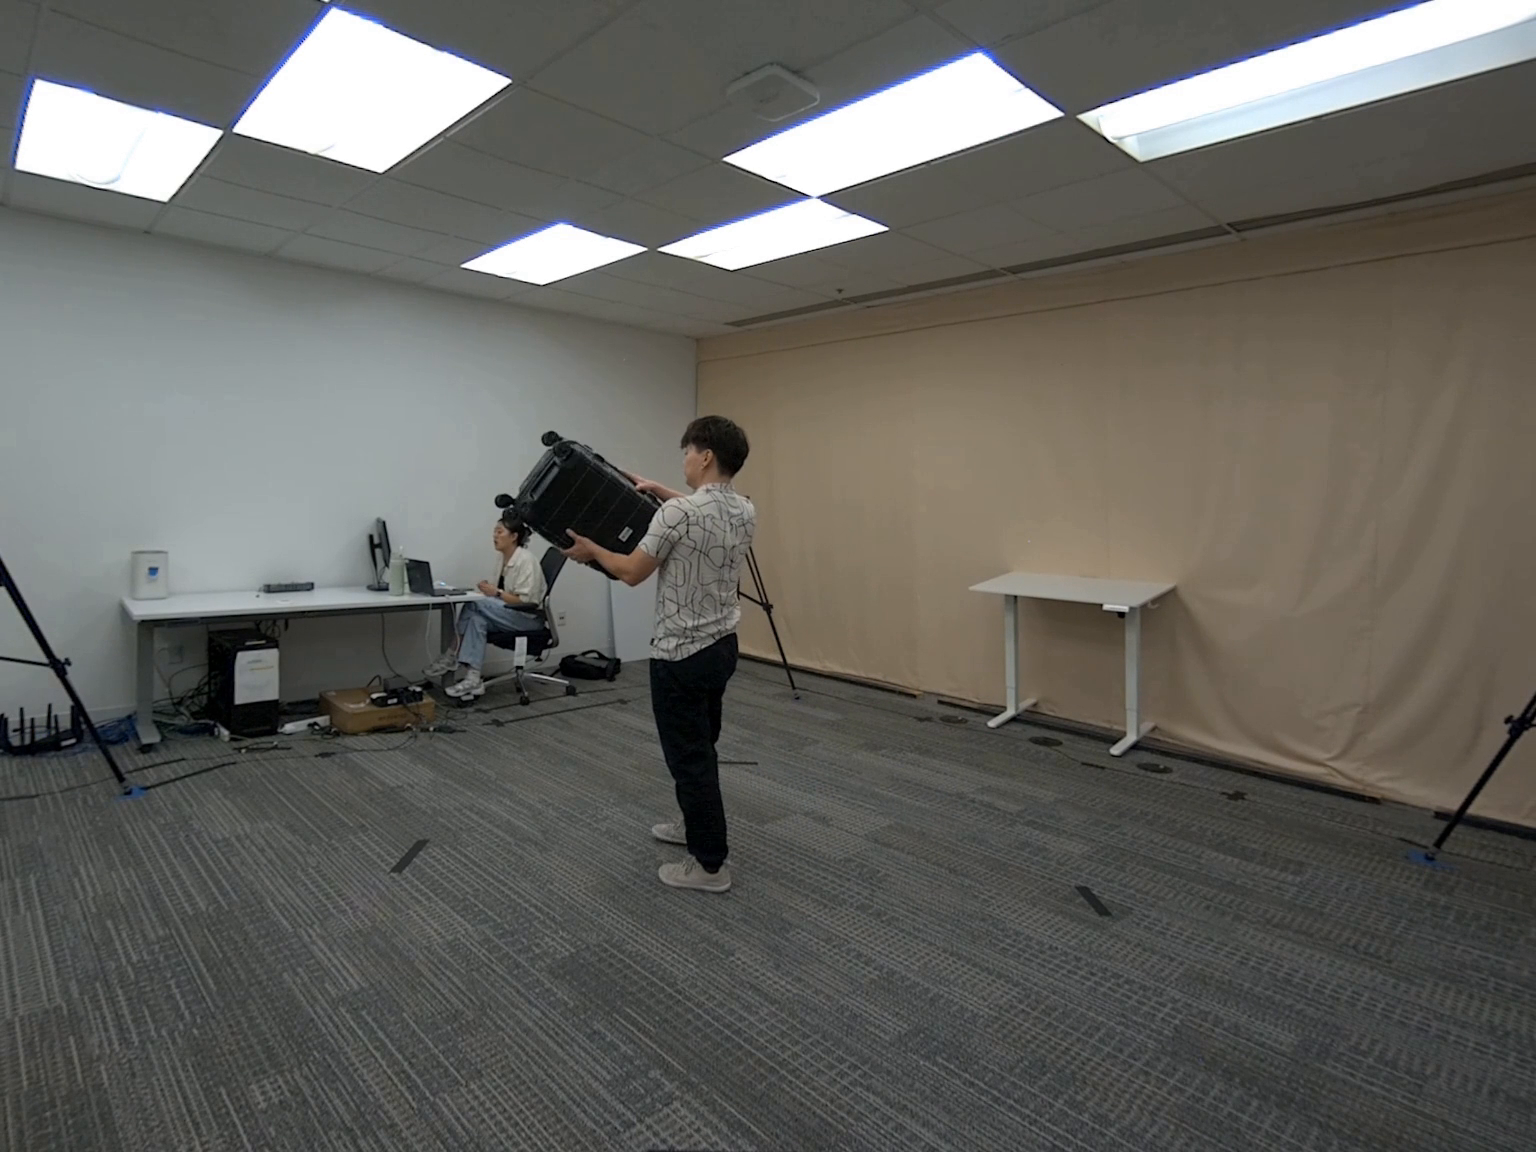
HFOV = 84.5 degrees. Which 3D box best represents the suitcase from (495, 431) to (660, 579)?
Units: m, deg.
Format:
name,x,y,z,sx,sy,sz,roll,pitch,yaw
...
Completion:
name,x,y,z,sx,sy,sz,roll,pitch,yaw
suitcase,-0.694,-0.251,3.173,0.534,0.375,0.255,36,0,-30
